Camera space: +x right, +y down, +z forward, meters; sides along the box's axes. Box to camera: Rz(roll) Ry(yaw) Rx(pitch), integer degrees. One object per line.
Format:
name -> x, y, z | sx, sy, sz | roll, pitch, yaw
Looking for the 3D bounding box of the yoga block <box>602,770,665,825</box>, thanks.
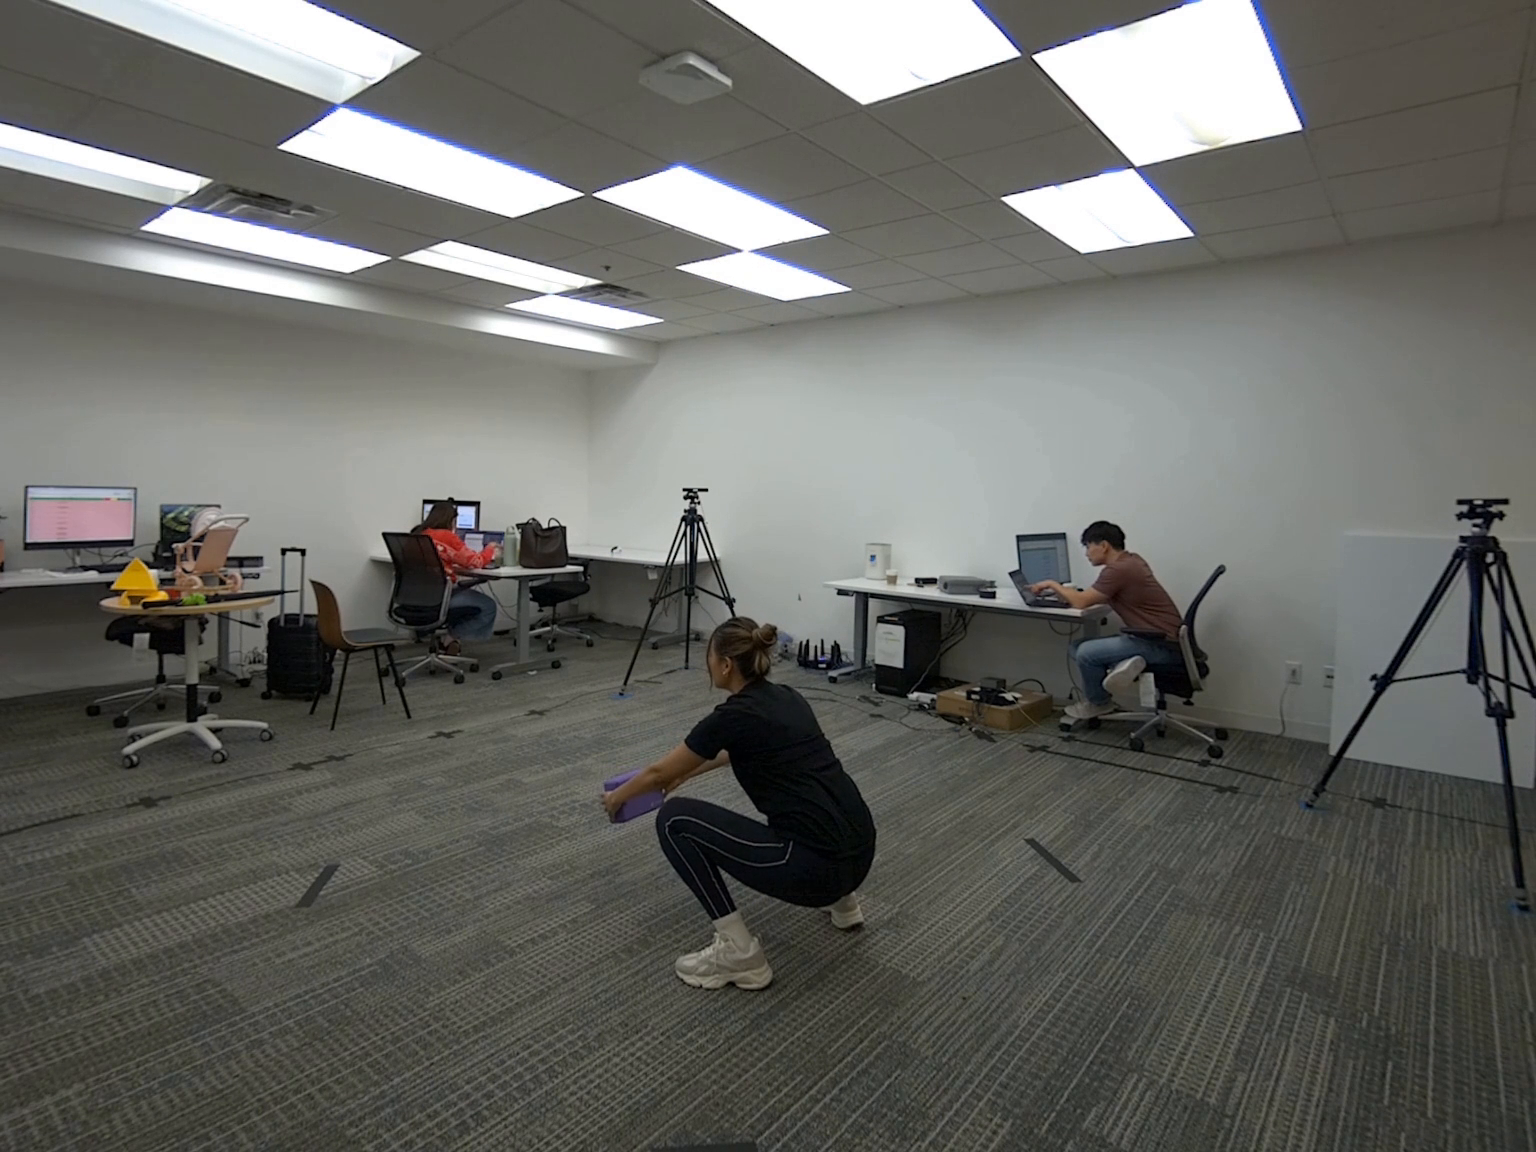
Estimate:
yoga block -> -0.491, 0.775, 3.048 | 0.078, 0.149, 0.223 | -11, -2, 41
